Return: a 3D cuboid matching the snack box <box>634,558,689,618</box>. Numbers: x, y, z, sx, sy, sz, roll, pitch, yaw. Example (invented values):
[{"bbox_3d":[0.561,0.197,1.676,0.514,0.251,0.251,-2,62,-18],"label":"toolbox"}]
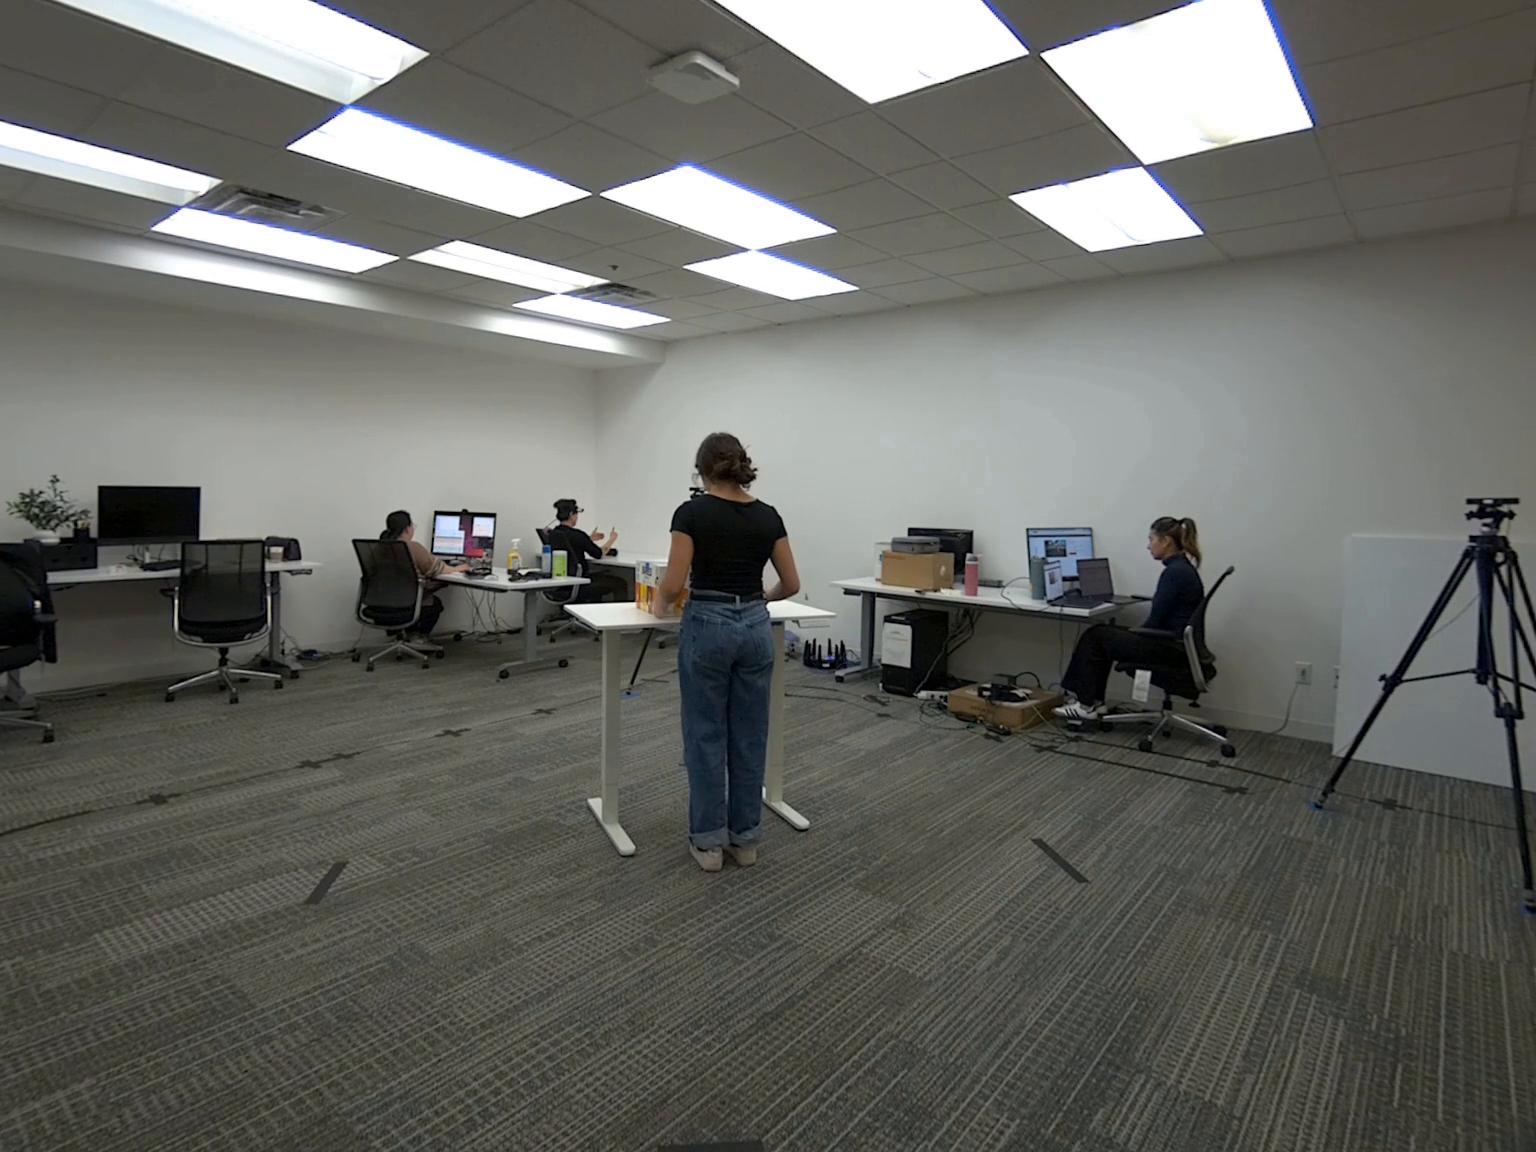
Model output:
[{"bbox_3d":[-0.320,0.038,3.543,0.396,0.205,0.349,-1,5,-23],"label":"snack box"}]
